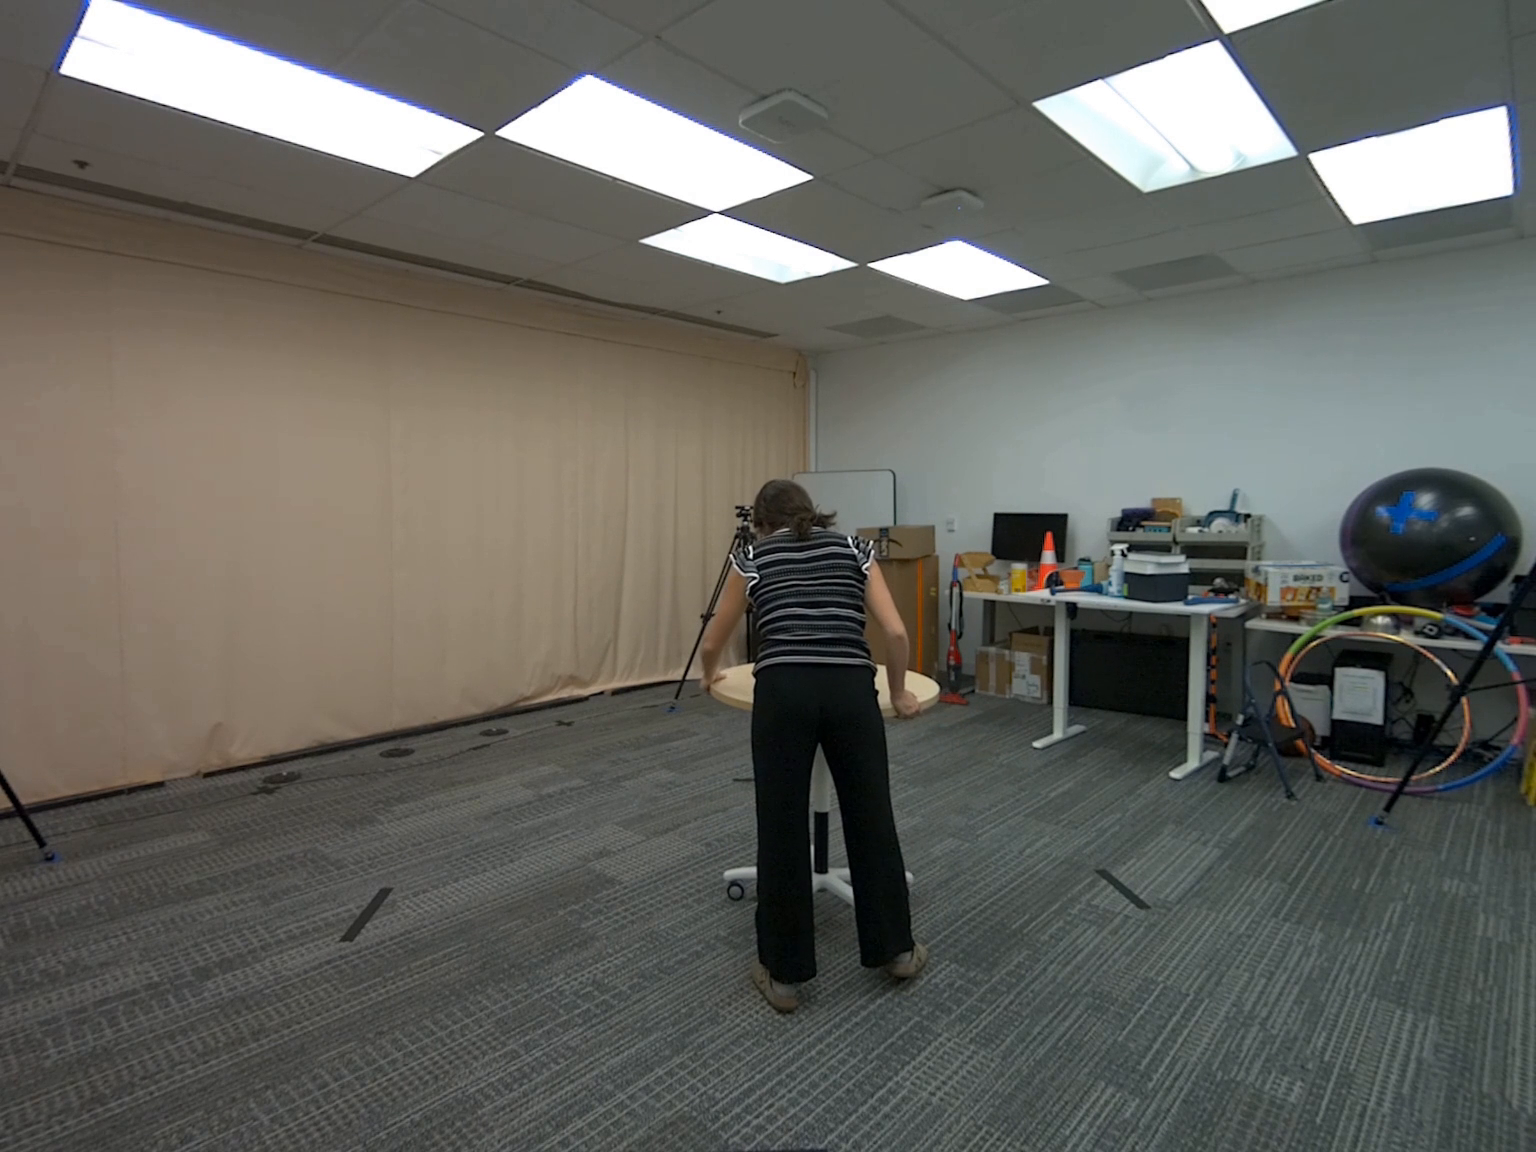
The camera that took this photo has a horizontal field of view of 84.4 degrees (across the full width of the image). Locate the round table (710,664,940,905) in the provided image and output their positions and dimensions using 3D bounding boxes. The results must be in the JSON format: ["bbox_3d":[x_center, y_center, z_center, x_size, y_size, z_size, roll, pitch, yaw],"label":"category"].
[{"bbox_3d":[0.178,0.751,2.859,0.784,0.784,0.788,0,4,-2],"label":"round table"}]
